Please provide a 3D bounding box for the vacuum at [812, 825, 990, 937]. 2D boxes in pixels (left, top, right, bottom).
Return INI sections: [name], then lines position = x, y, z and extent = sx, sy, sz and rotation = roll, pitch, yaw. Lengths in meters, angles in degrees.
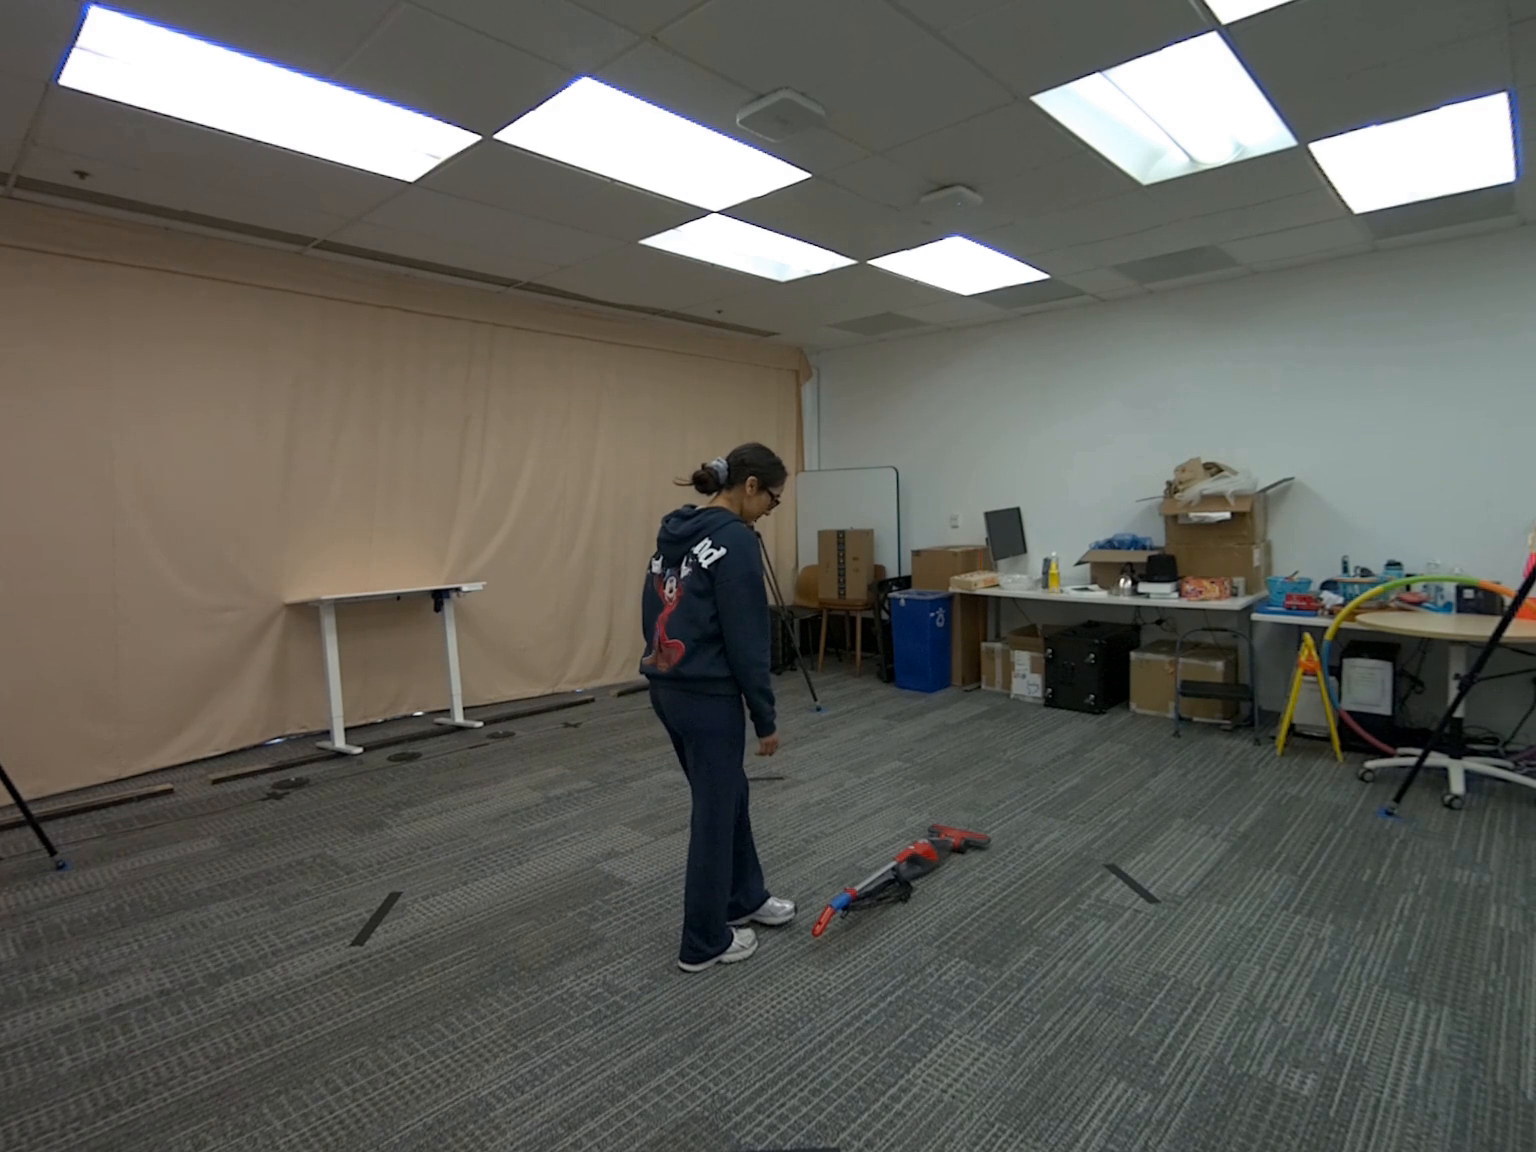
[vacuum]
position = 0.460, 1.081, 3.006
extent = 0.261, 0.143, 1.018
rotation = 5, 6, 36
